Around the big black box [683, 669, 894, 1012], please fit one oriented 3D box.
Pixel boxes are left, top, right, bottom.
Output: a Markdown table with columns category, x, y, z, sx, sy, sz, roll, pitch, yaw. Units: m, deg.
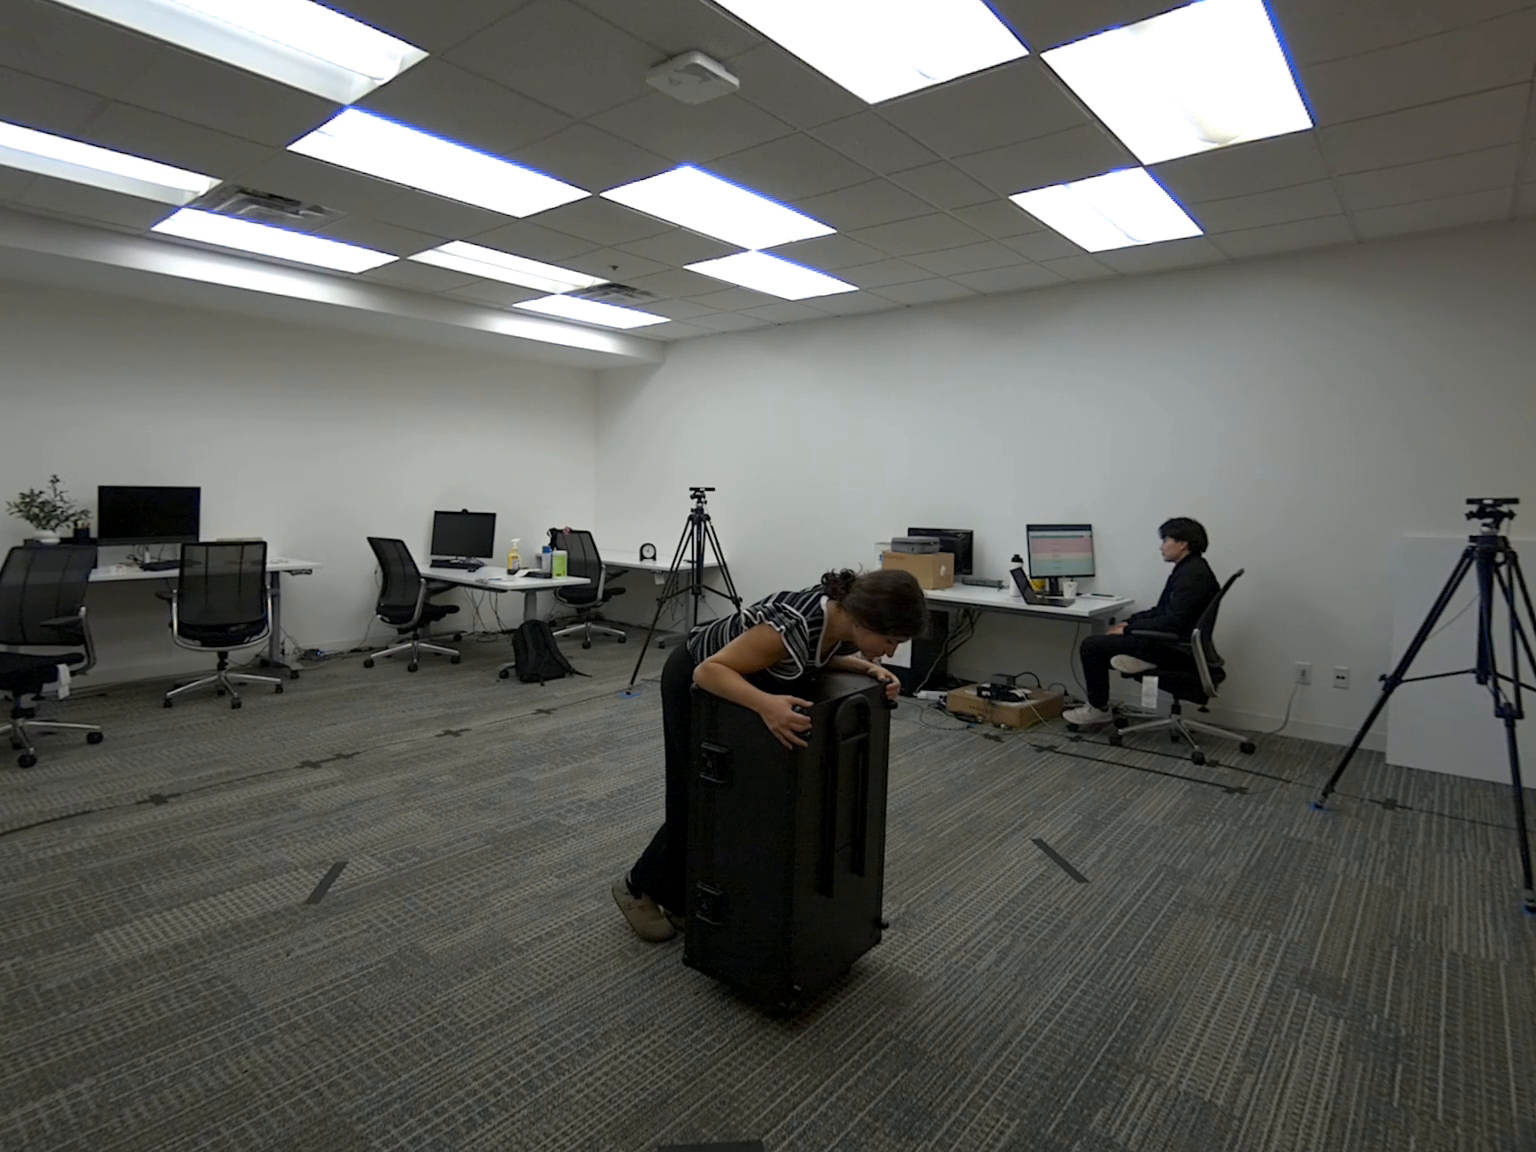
| category | x | y | z | sx | sy | sz | roll | pitch | yaw |
| --- | --- | --- | --- | --- | --- | --- | --- | --- | --- |
| big black box | 0.068 | 0.731 | 2.399 | 0.410 | 0.858 | 0.506 | 6 | 6 | 37 |
